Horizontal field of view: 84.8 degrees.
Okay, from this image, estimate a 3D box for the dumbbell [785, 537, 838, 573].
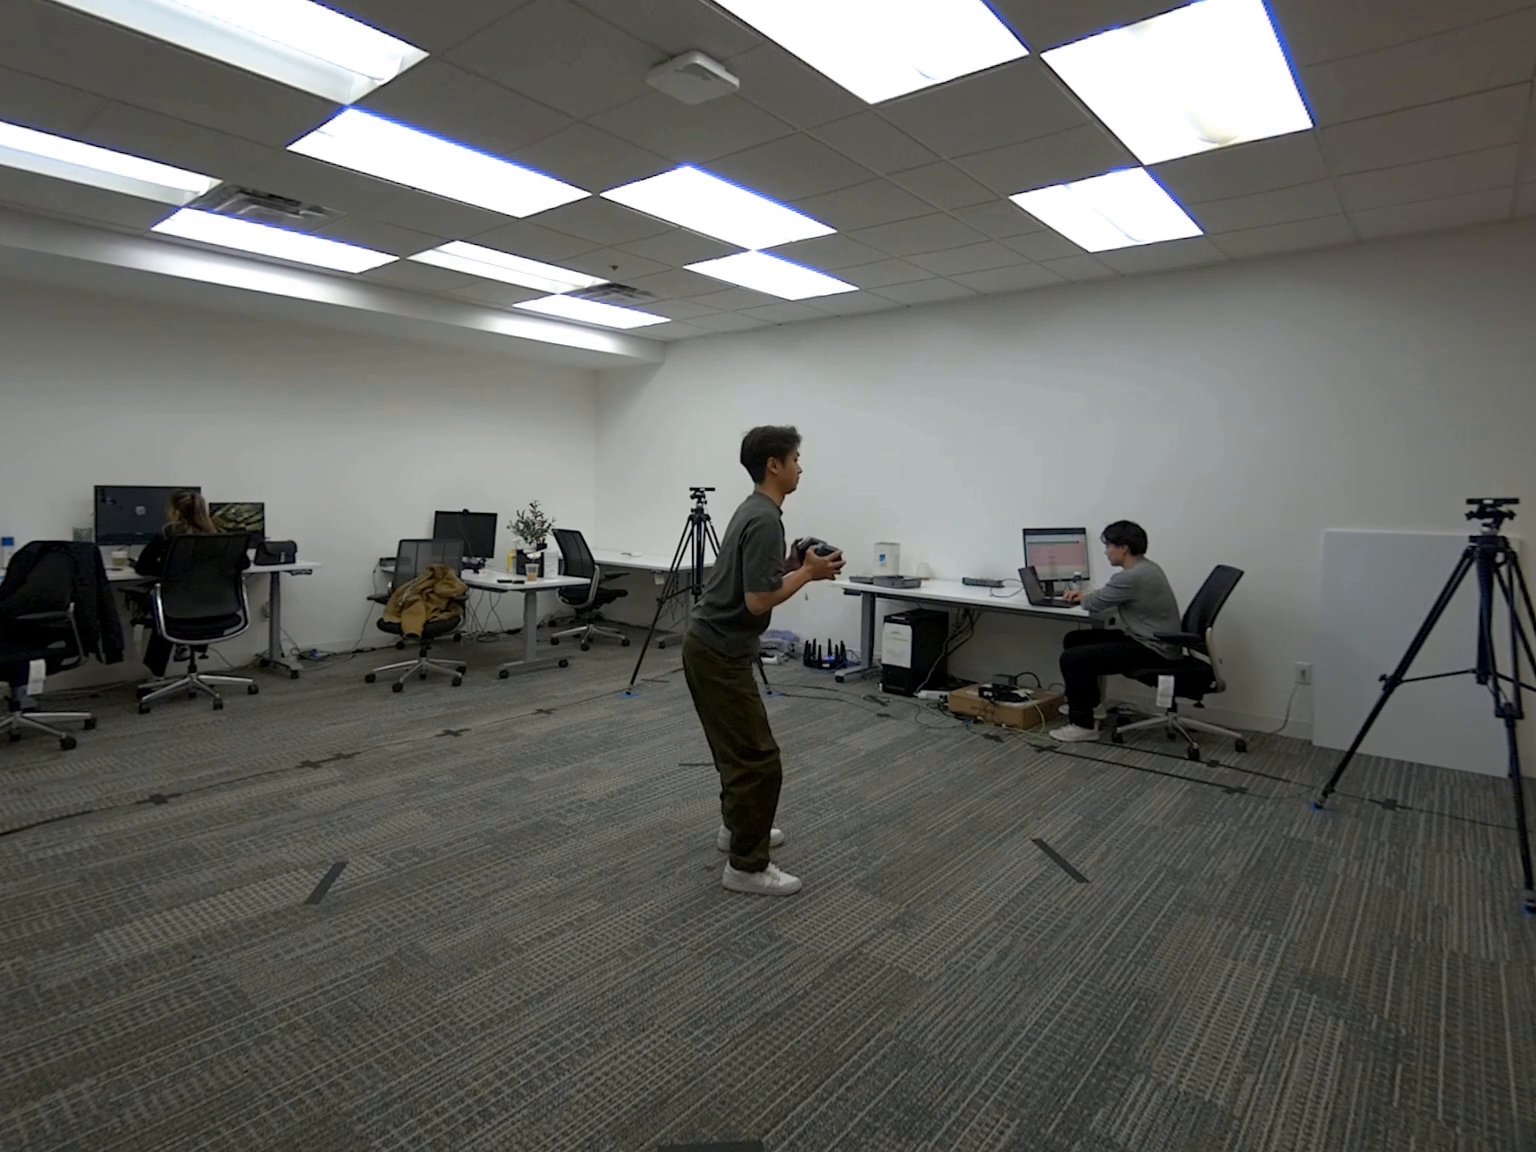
[{"bbox_3d":[0.165,-0.064,3.121,0.123,0.107,0.298,-43,13,3],"label":"dumbbell"}]
